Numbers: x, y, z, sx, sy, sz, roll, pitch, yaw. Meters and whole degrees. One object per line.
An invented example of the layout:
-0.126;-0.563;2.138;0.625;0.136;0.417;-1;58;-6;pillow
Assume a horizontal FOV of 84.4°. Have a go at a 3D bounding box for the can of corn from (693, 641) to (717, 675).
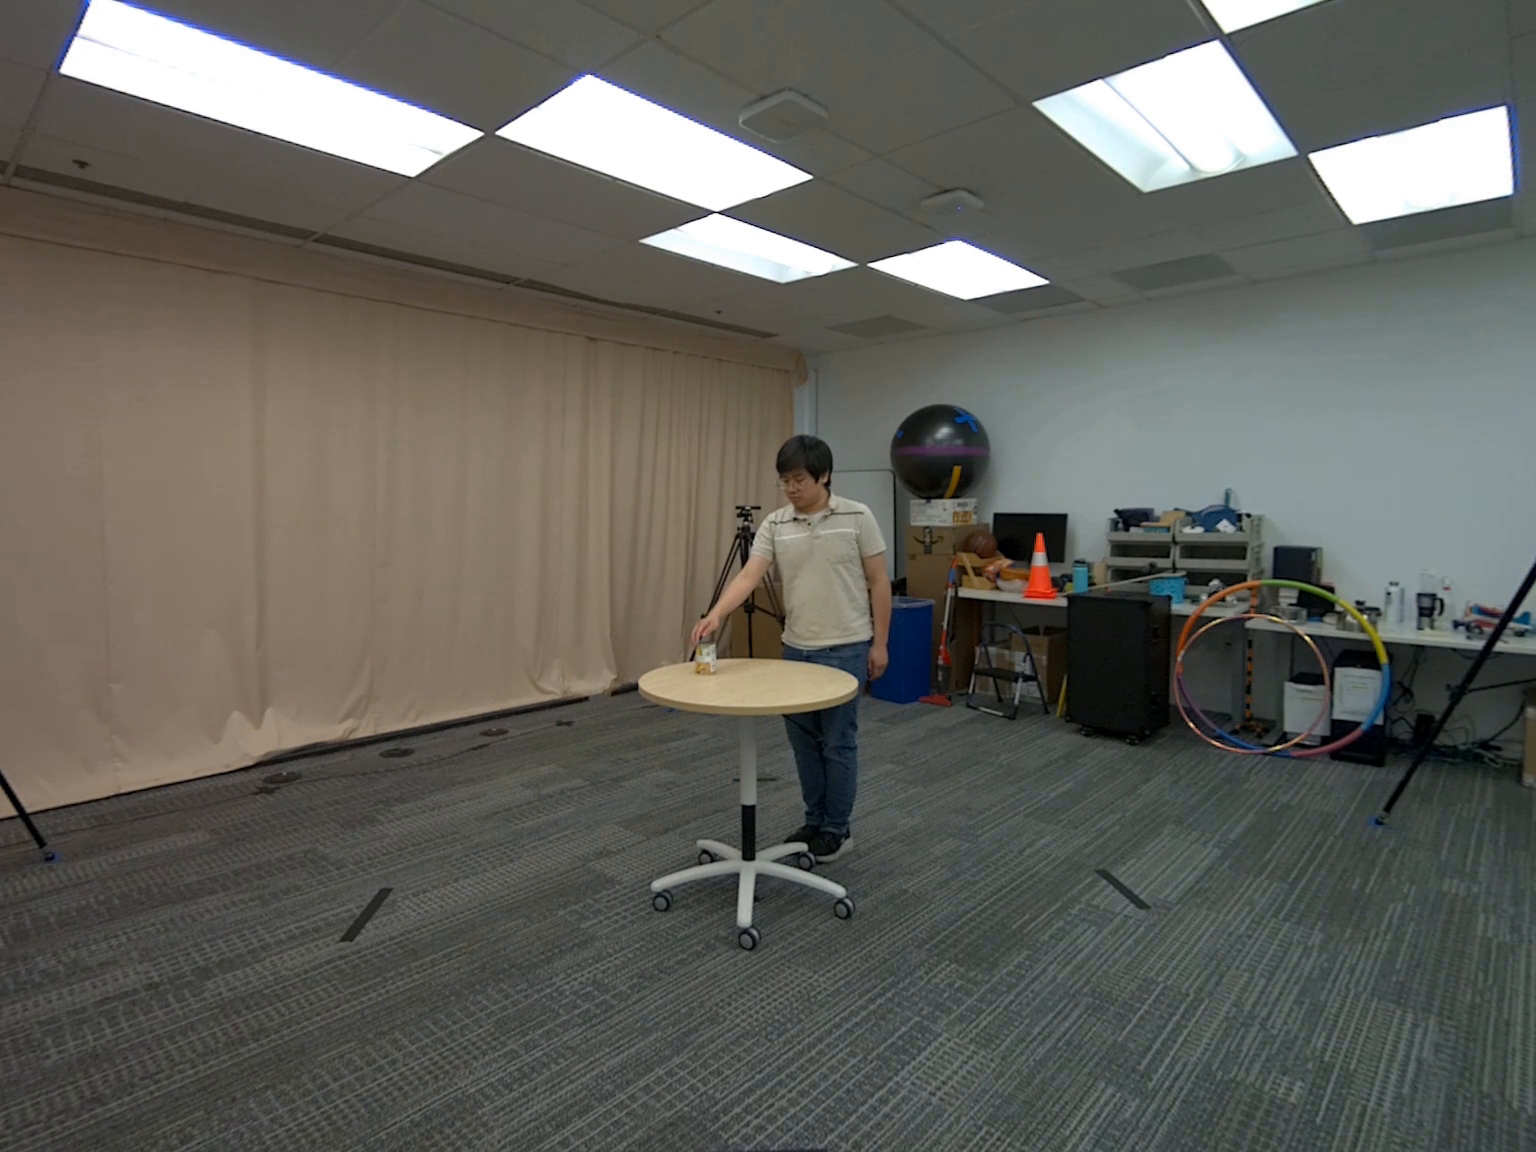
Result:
-0.222;0.297;3.069;0.074;0.111;0.074;1;1;-2;can of corn
